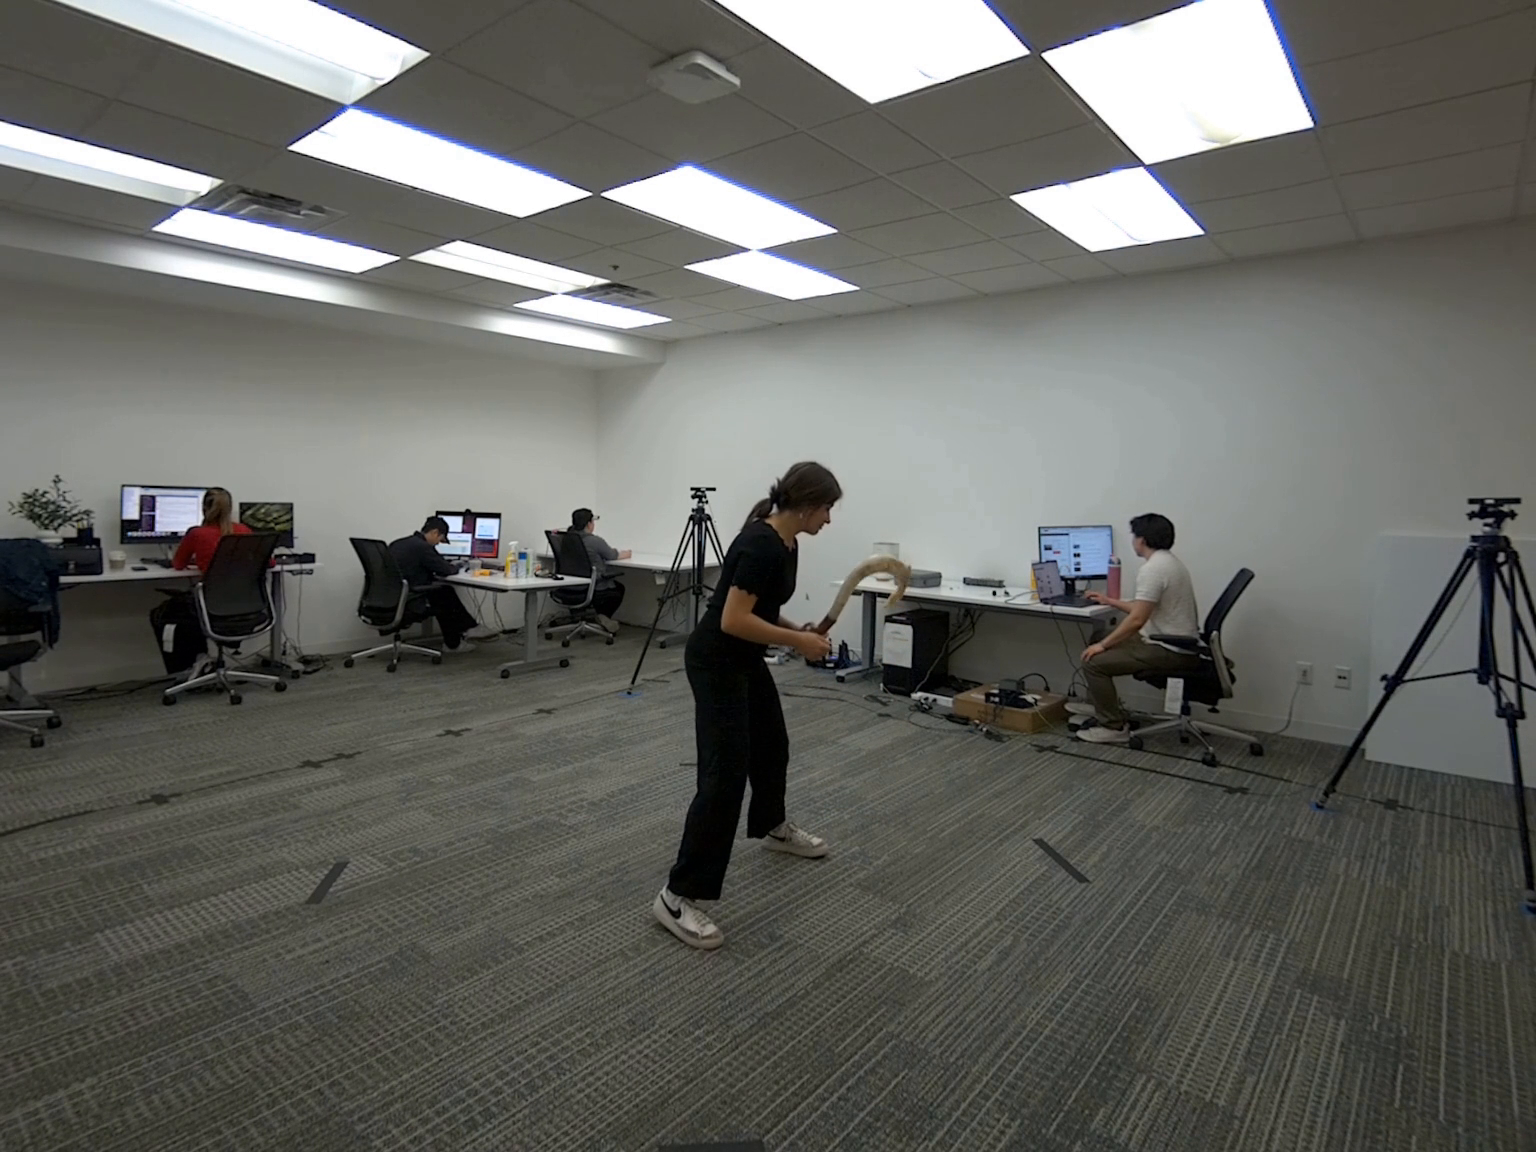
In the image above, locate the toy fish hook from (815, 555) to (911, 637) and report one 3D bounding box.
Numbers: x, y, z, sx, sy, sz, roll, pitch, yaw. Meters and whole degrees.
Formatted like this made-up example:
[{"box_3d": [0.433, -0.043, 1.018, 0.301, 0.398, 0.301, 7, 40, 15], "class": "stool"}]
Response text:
[{"box_3d": [0.278, 0.133, 2.886, 0.219, 0.506, 0.050, 30, 27, -20], "class": "toy fish hook"}]
